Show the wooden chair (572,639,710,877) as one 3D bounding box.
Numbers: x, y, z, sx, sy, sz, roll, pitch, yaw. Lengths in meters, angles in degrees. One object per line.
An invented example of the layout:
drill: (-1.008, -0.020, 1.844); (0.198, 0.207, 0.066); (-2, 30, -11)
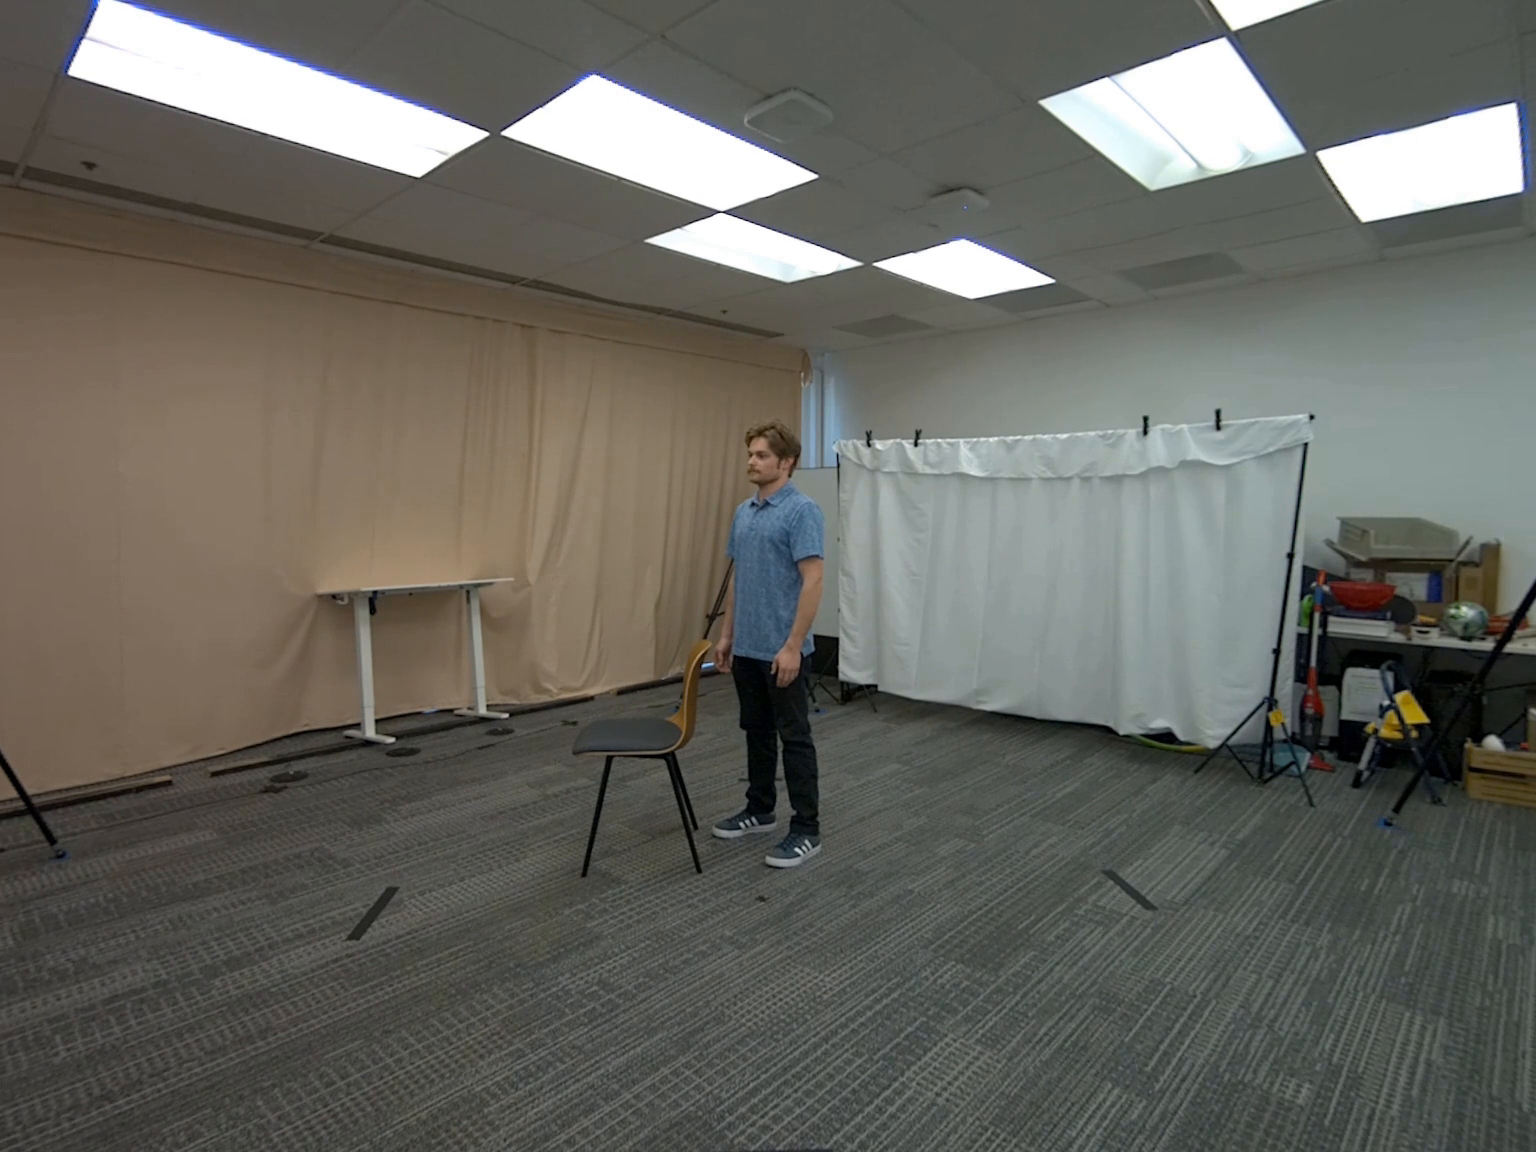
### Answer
wooden chair: (-0.511, 0.685, 3.370); (0.521, 0.875, 0.481); (3, 3, -5)
